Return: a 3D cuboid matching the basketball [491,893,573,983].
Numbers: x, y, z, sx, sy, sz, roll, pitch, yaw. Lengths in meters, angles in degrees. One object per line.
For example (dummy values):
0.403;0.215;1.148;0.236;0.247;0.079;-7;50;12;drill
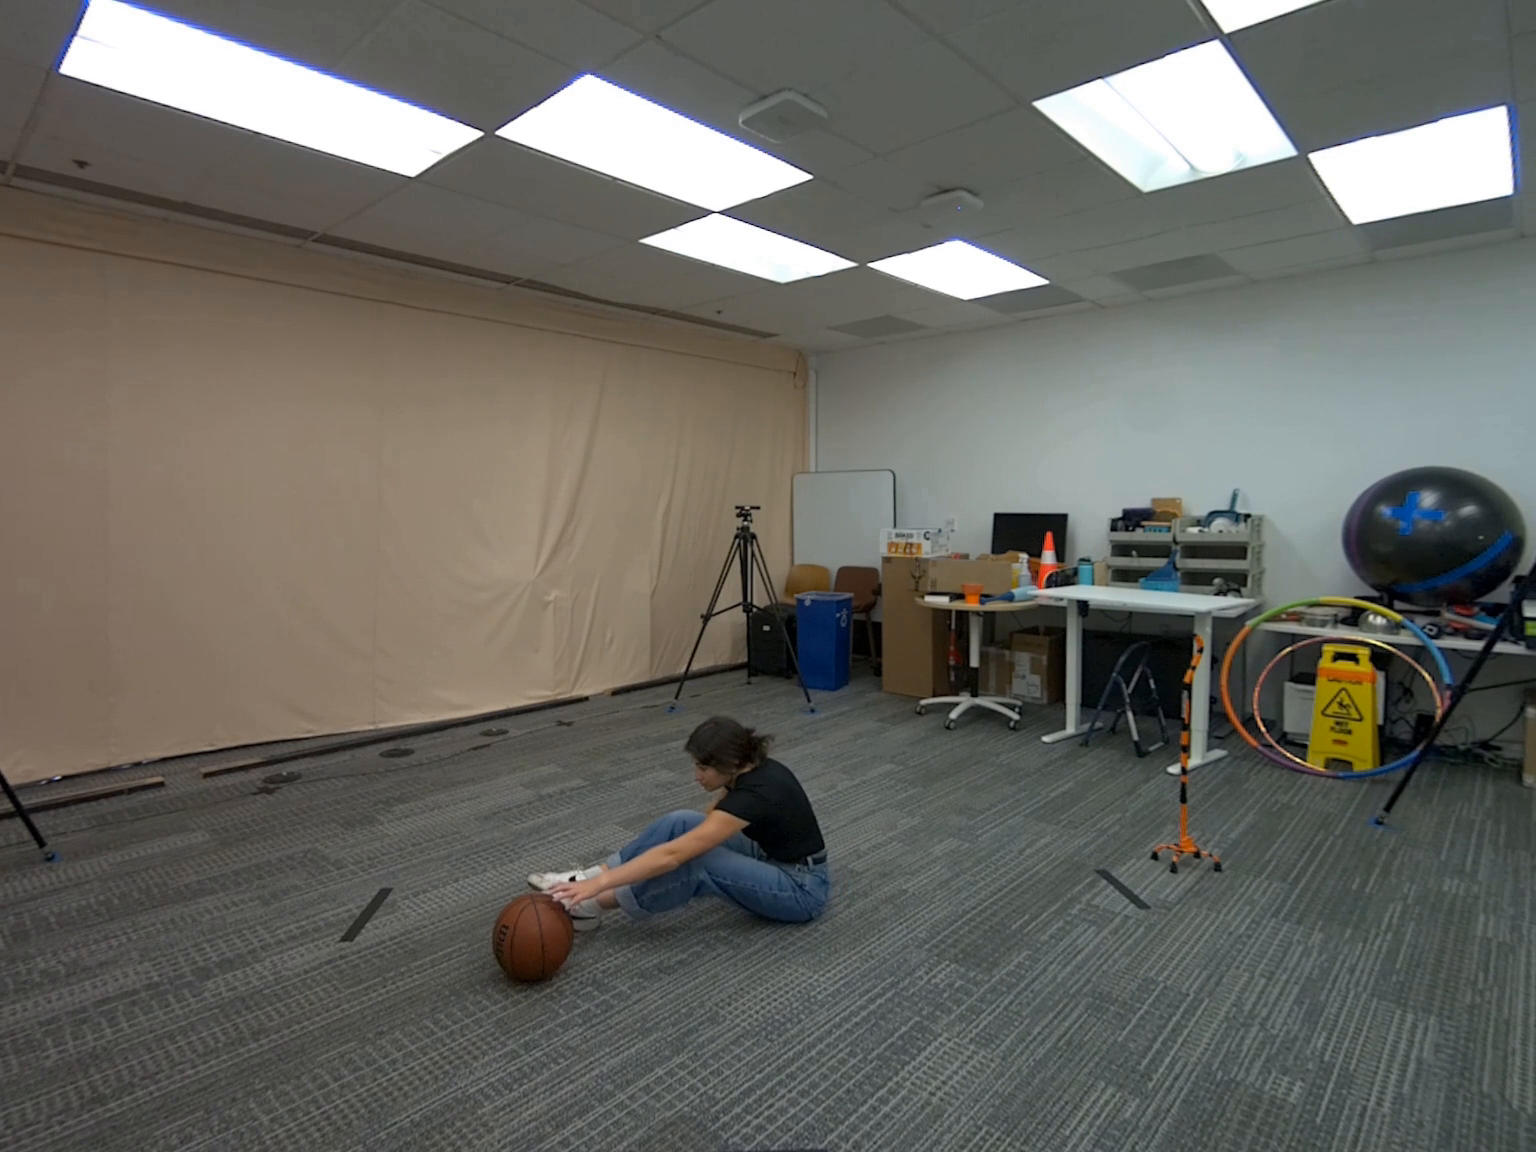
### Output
-0.696;1.065;2.497;0.236;0.235;0.237;0;4;-2;basketball
